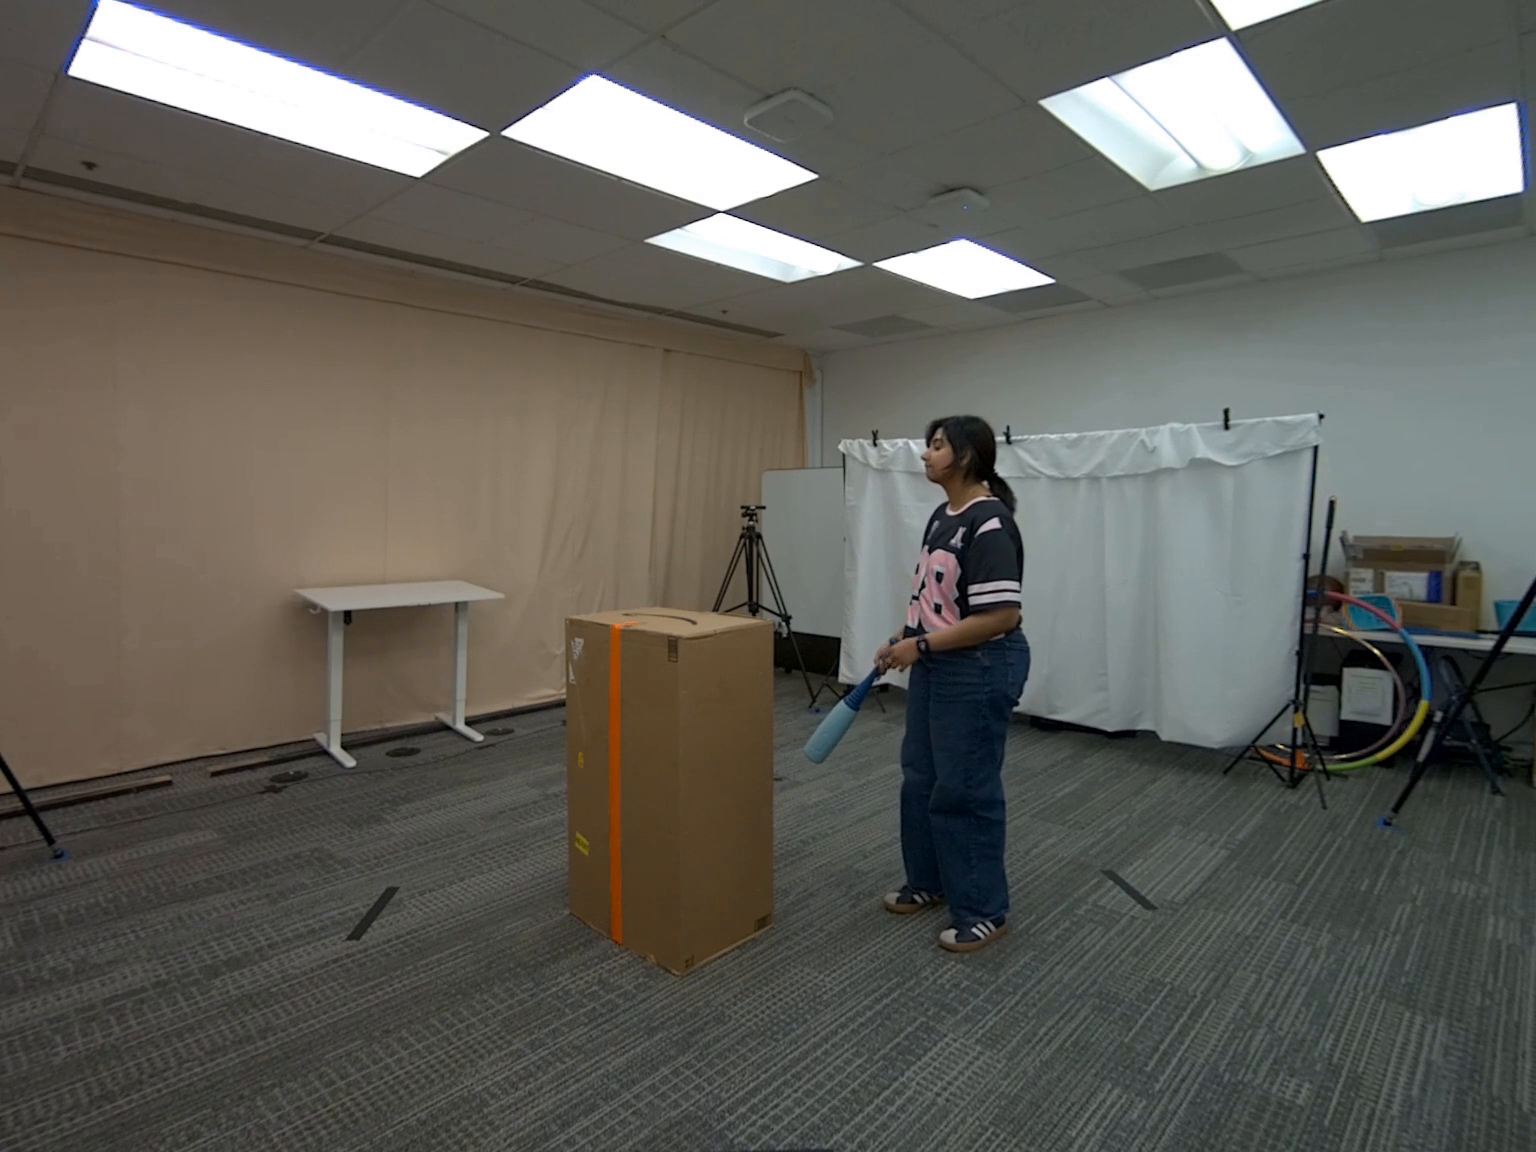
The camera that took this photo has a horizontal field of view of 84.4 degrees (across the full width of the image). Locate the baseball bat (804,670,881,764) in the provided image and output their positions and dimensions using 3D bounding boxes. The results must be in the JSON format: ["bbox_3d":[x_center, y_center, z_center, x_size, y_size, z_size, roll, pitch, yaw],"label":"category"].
[{"bbox_3d":[0.301,0.448,2.944,0.088,0.544,0.090,31,19,-14],"label":"baseball bat"}]
